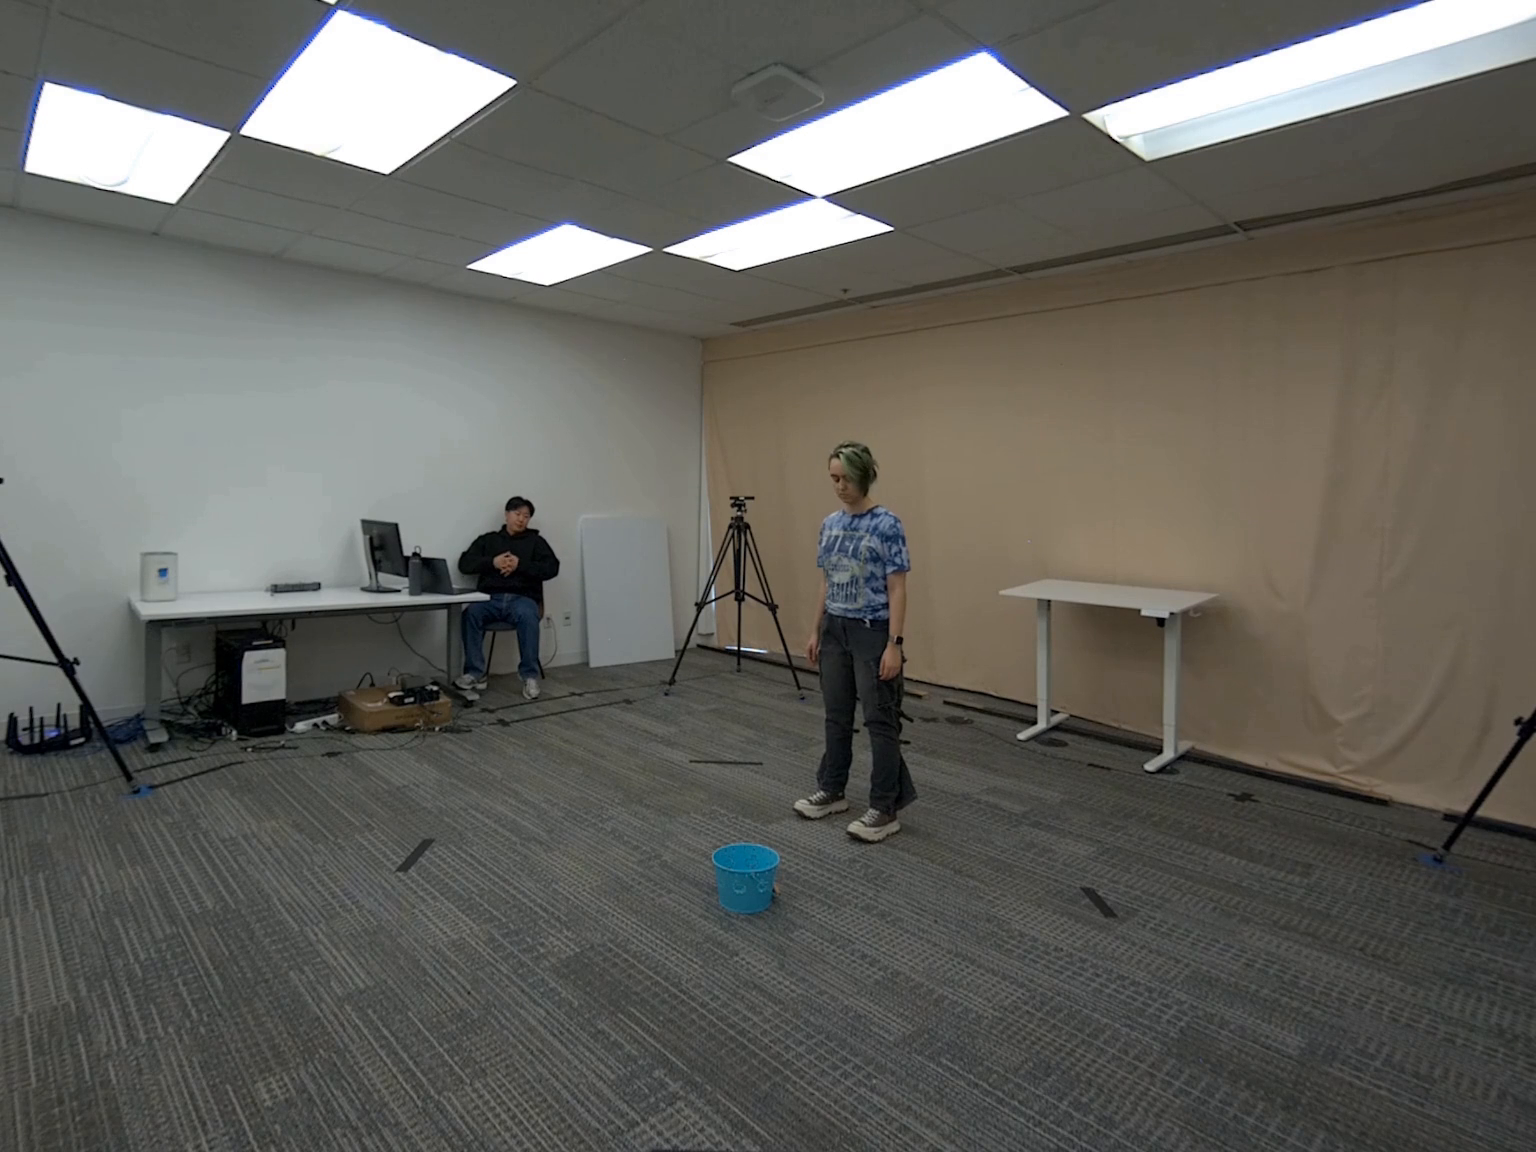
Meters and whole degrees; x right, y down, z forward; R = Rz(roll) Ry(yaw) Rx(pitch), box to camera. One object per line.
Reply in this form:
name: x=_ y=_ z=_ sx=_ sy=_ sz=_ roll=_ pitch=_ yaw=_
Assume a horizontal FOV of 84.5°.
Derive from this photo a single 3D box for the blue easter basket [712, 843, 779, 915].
blue easter basket: x=-0.081 y=1.046 z=2.903 sx=0.243 sy=0.155 sz=0.244 roll=1 pitch=5 yaw=-1
